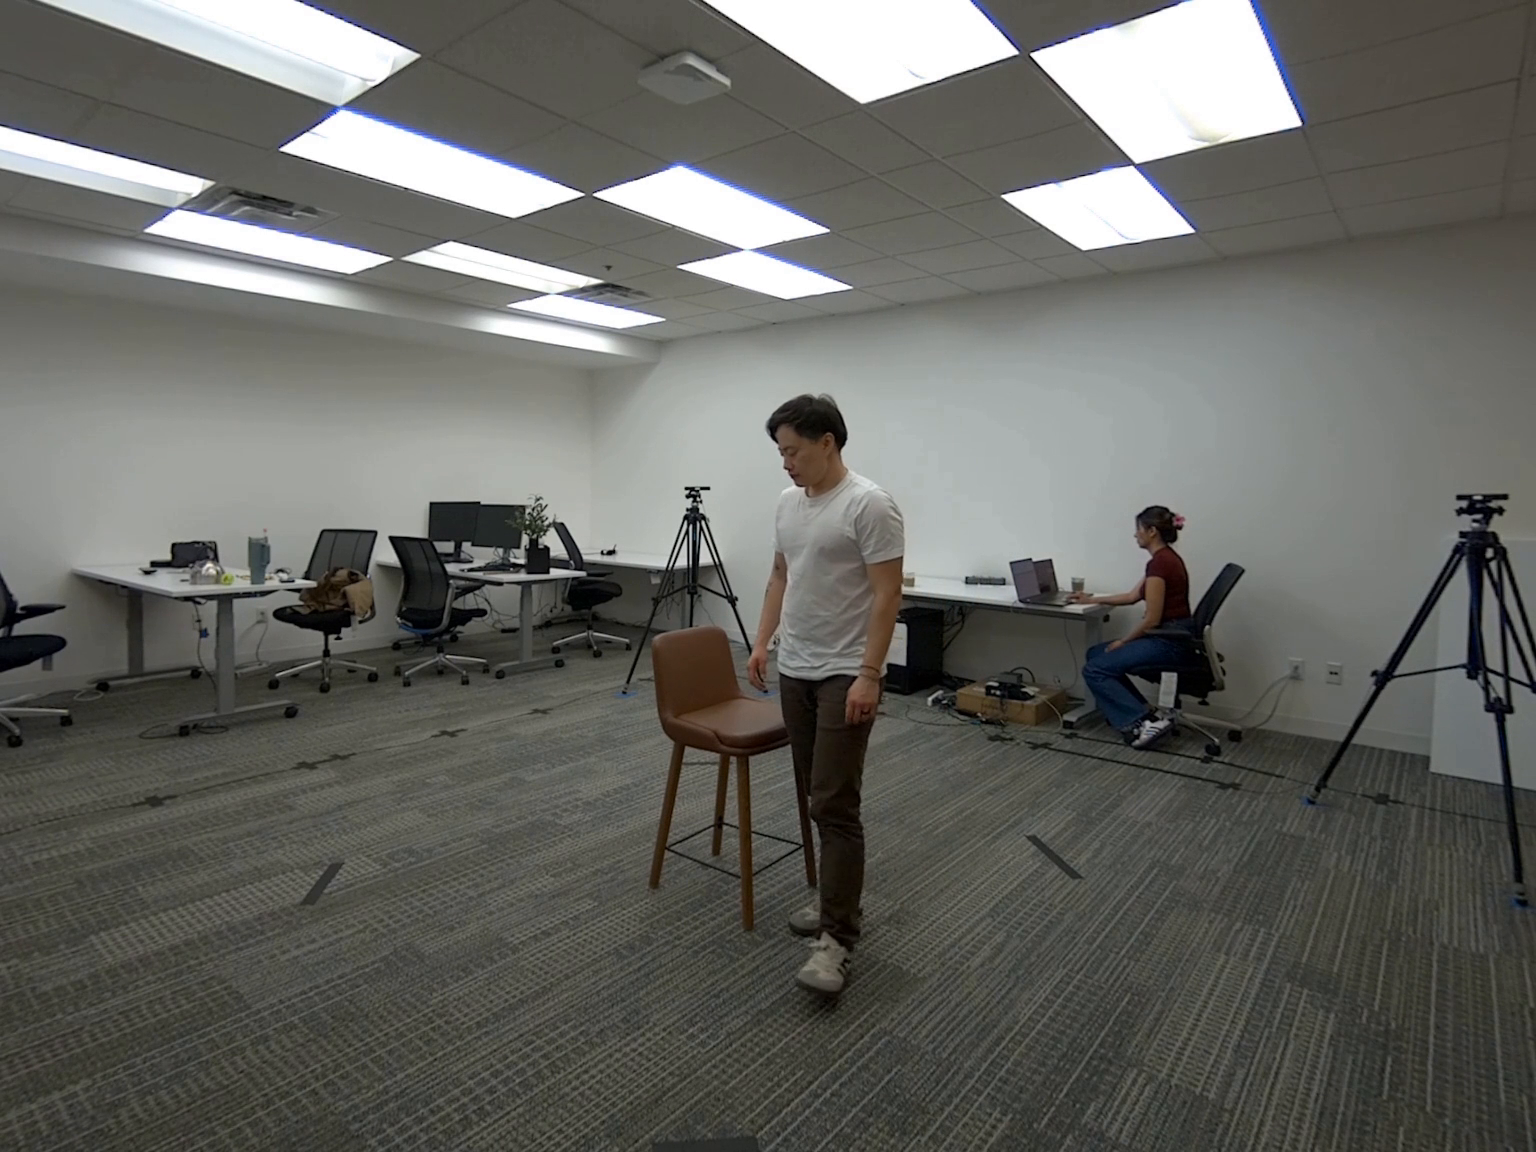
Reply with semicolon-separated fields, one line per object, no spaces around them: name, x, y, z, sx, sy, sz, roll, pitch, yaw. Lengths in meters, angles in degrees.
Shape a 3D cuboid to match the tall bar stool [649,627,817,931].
tall bar stool;-0.130;0.650;2.945;0.482;0.888;0.443;1;2;37
